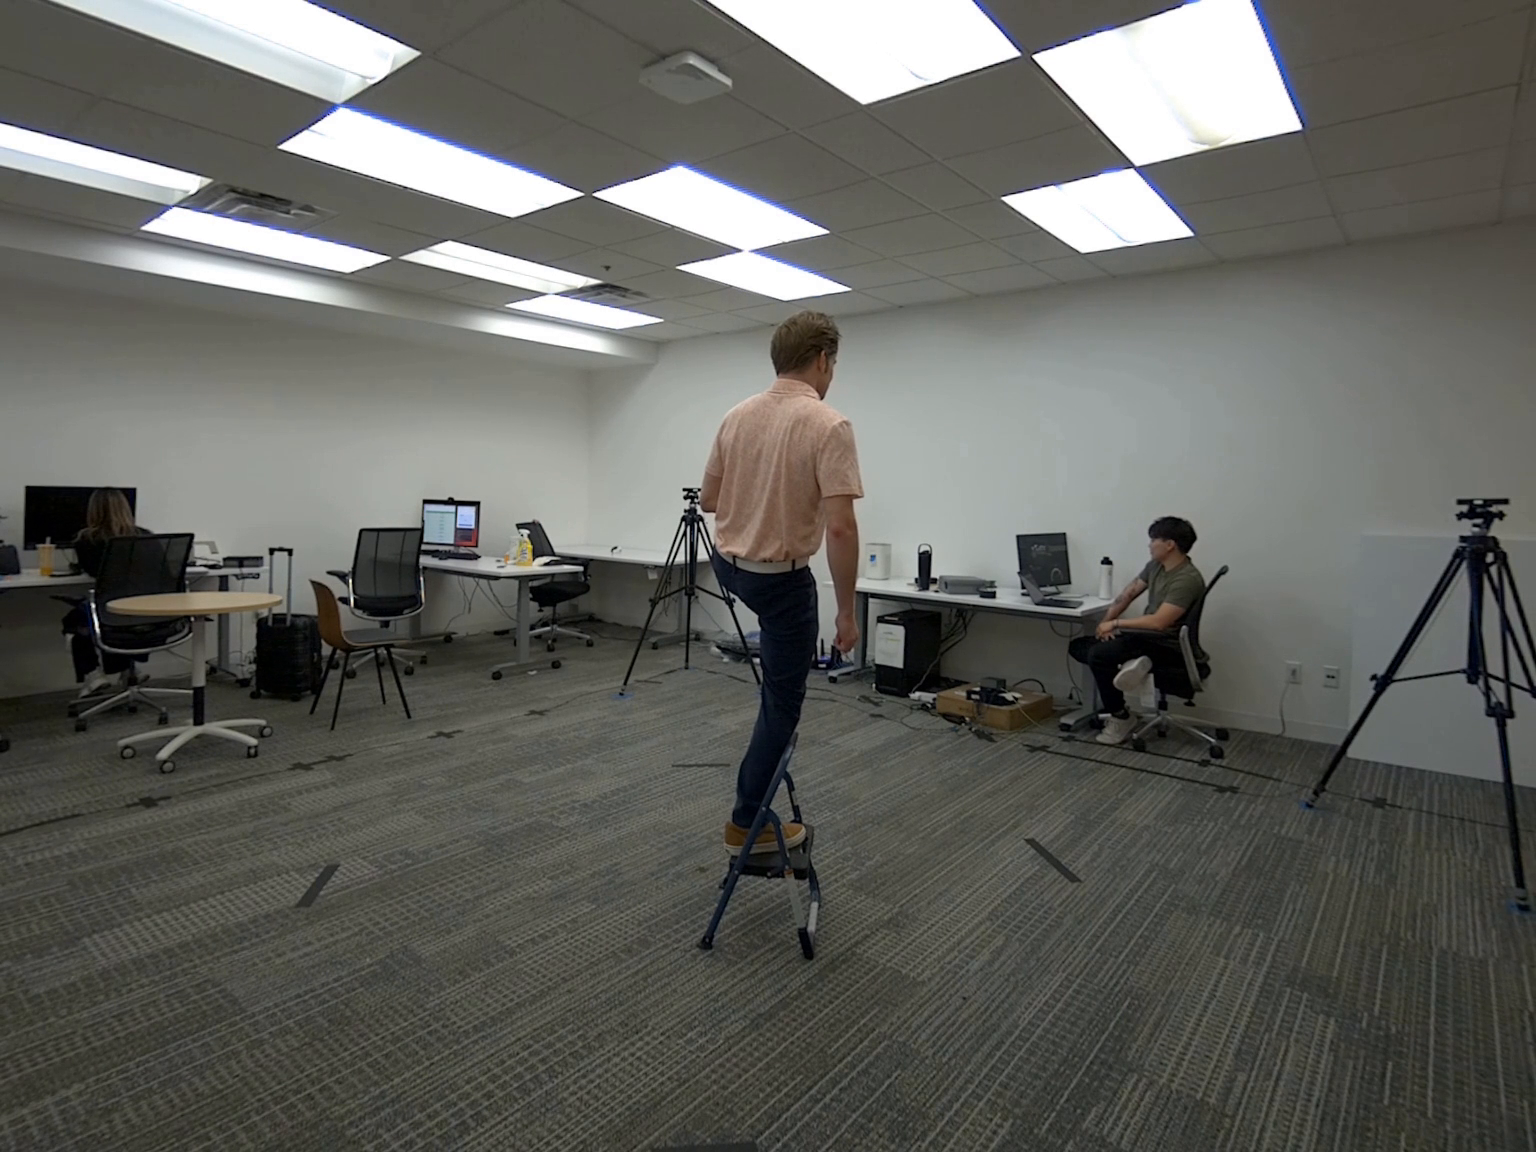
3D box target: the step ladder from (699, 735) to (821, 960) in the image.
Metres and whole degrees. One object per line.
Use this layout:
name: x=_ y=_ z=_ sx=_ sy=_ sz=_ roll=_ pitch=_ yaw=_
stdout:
step ladder: x=-0.013 y=0.812 z=2.730 sx=0.353 sy=0.604 sz=0.428 roll=2 pitch=4 yaw=7
